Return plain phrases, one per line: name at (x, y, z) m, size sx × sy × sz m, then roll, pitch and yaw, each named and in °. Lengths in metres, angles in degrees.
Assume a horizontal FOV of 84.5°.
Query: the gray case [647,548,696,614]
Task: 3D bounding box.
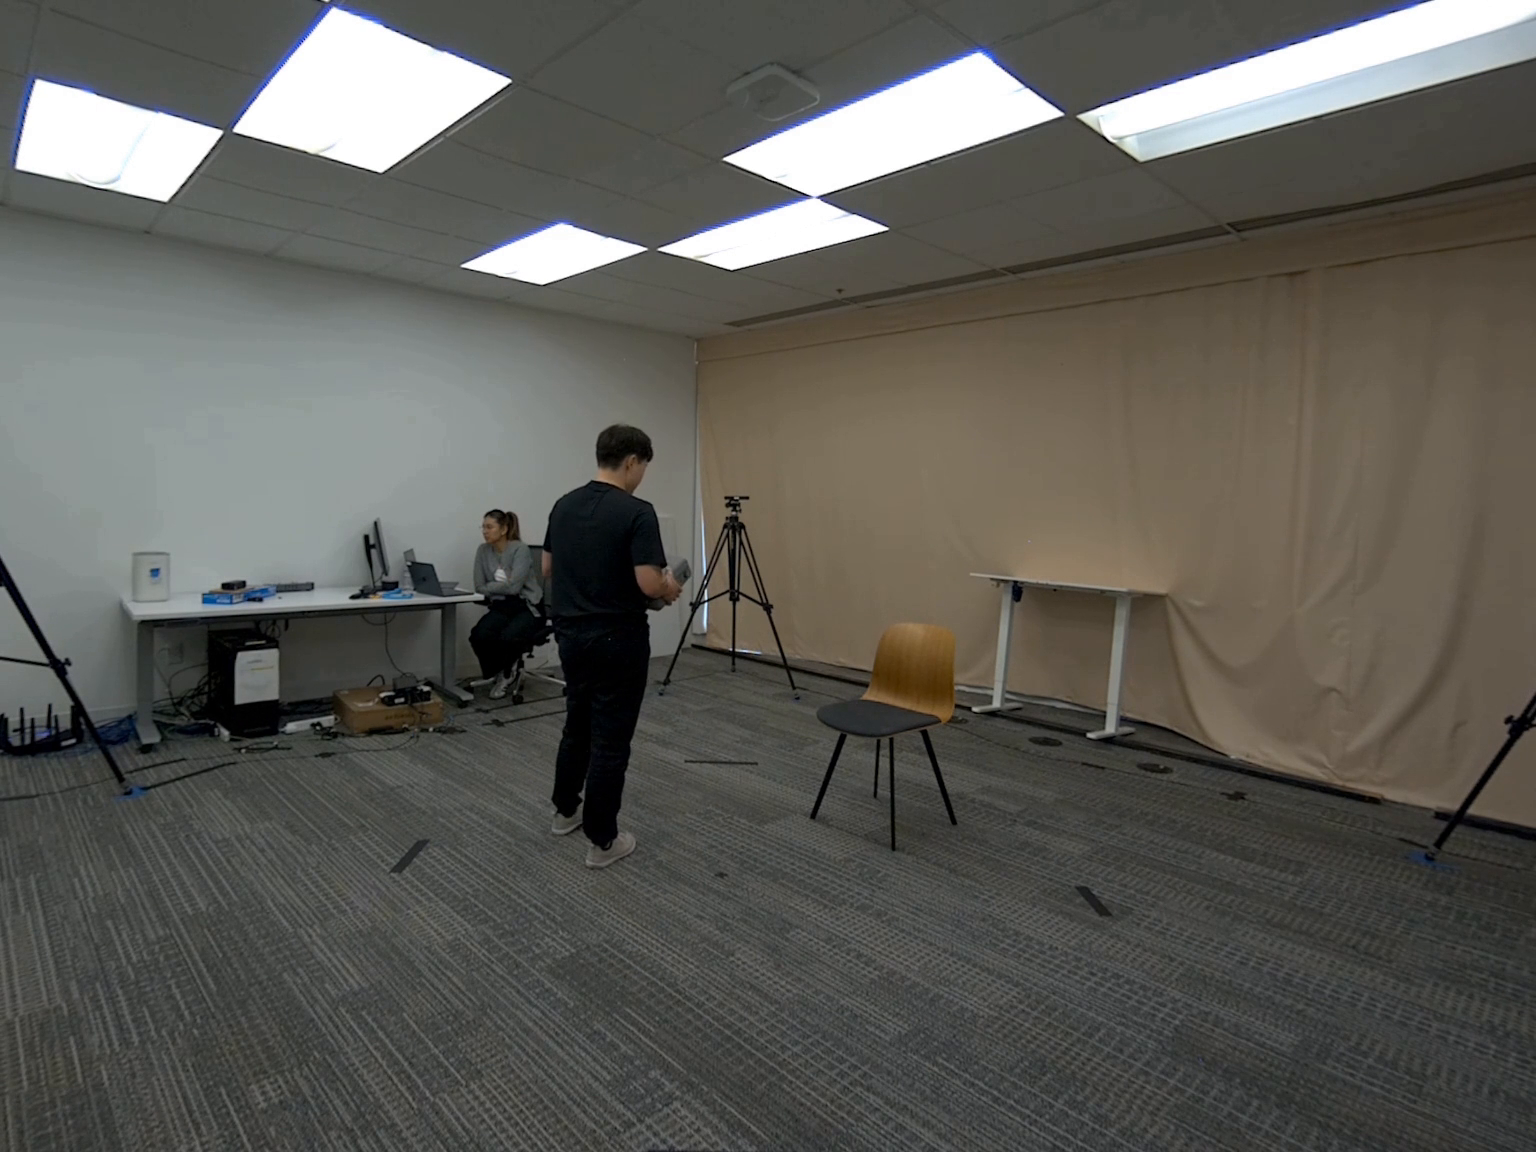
gray case at (-0.486, 0.005, 3.454) m, size 0.264 × 0.101 × 0.260 m, roll 11°, pitch 44°, yaw 37°
